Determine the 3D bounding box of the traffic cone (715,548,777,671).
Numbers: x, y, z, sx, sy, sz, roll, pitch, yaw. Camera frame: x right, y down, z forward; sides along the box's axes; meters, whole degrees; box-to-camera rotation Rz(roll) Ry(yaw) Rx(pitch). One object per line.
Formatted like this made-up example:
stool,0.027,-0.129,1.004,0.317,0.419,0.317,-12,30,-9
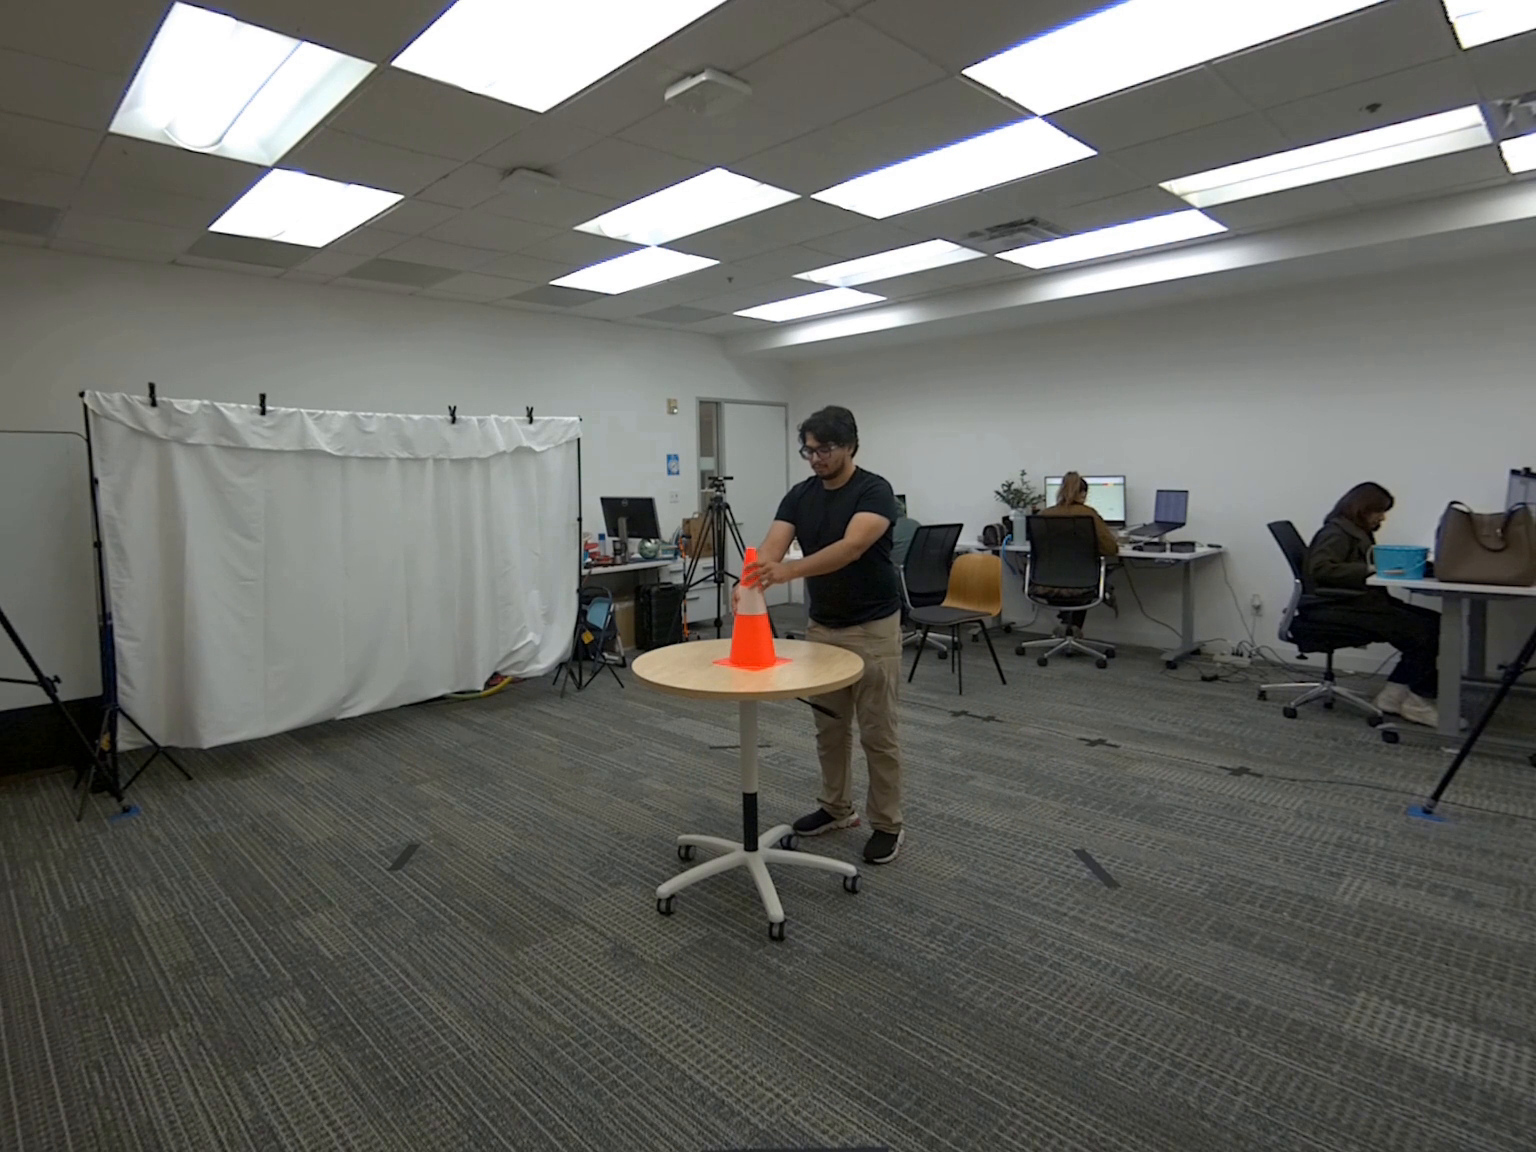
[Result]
traffic cone,-0.055,0.100,2.817,0.209,0.382,0.200,2,7,35
